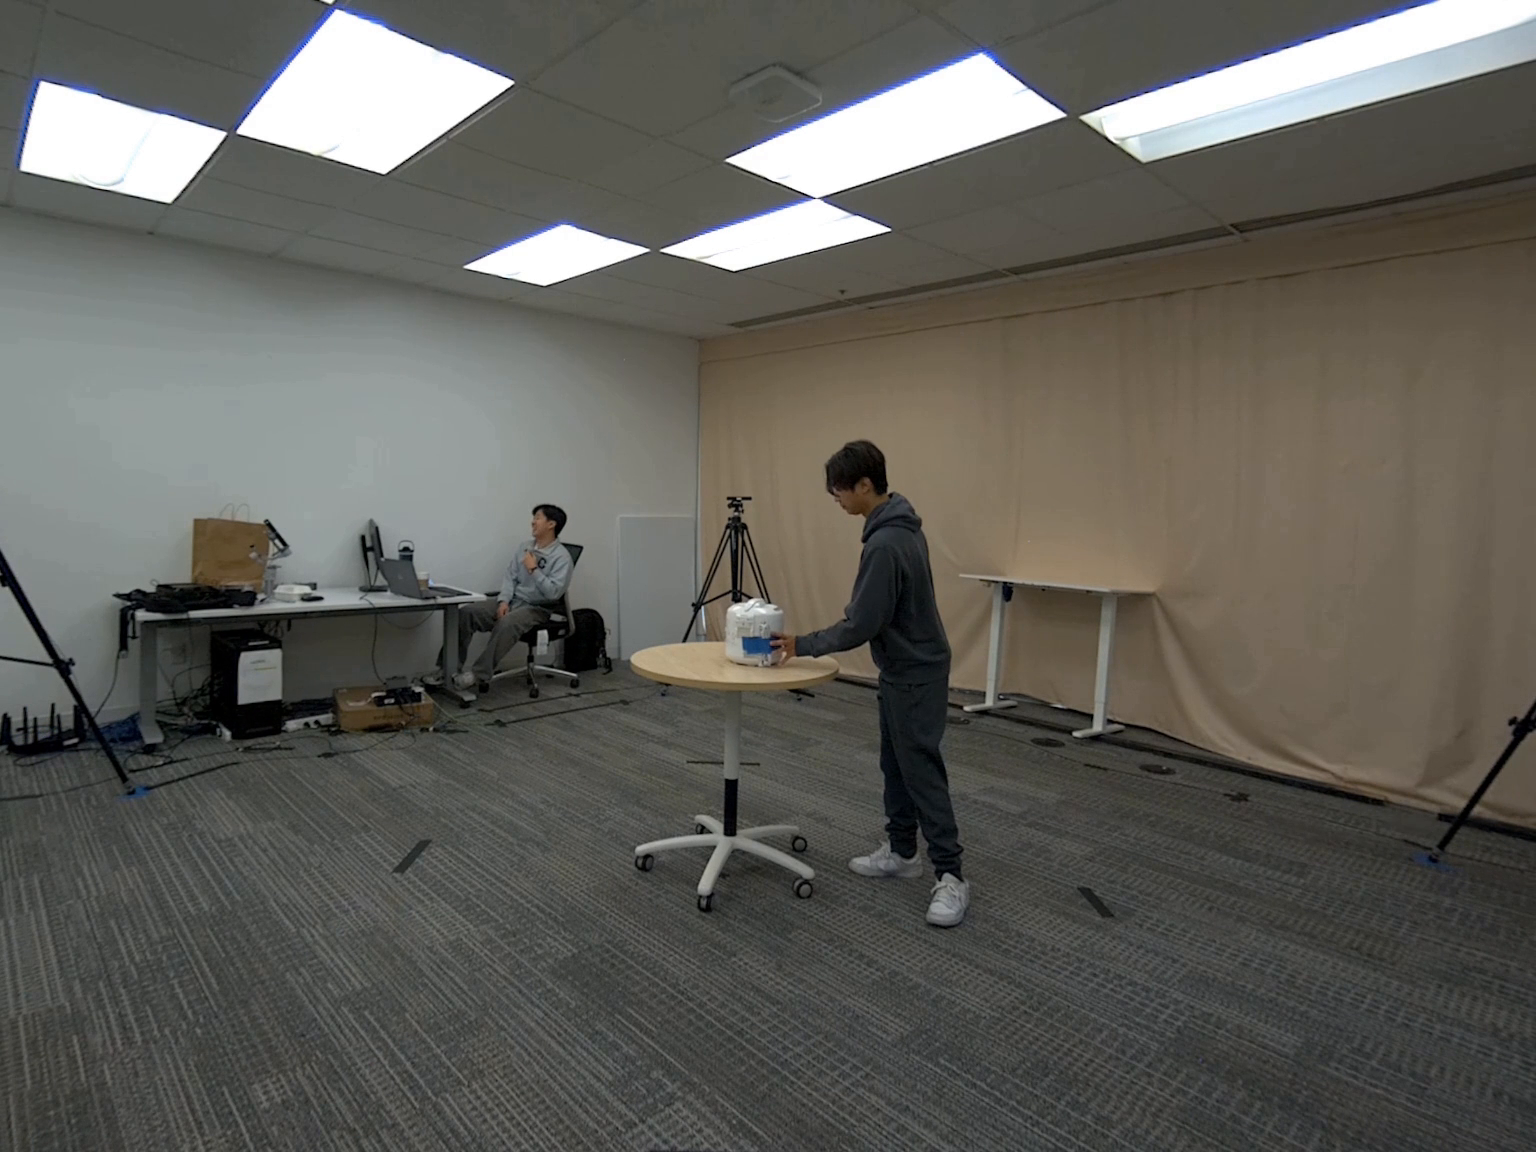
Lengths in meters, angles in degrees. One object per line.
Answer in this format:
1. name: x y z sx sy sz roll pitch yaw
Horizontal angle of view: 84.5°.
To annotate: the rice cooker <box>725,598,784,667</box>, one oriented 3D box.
1. rice cooker: -0.052 0.198 3.072 0.221 0.232 0.217 4 5 24
